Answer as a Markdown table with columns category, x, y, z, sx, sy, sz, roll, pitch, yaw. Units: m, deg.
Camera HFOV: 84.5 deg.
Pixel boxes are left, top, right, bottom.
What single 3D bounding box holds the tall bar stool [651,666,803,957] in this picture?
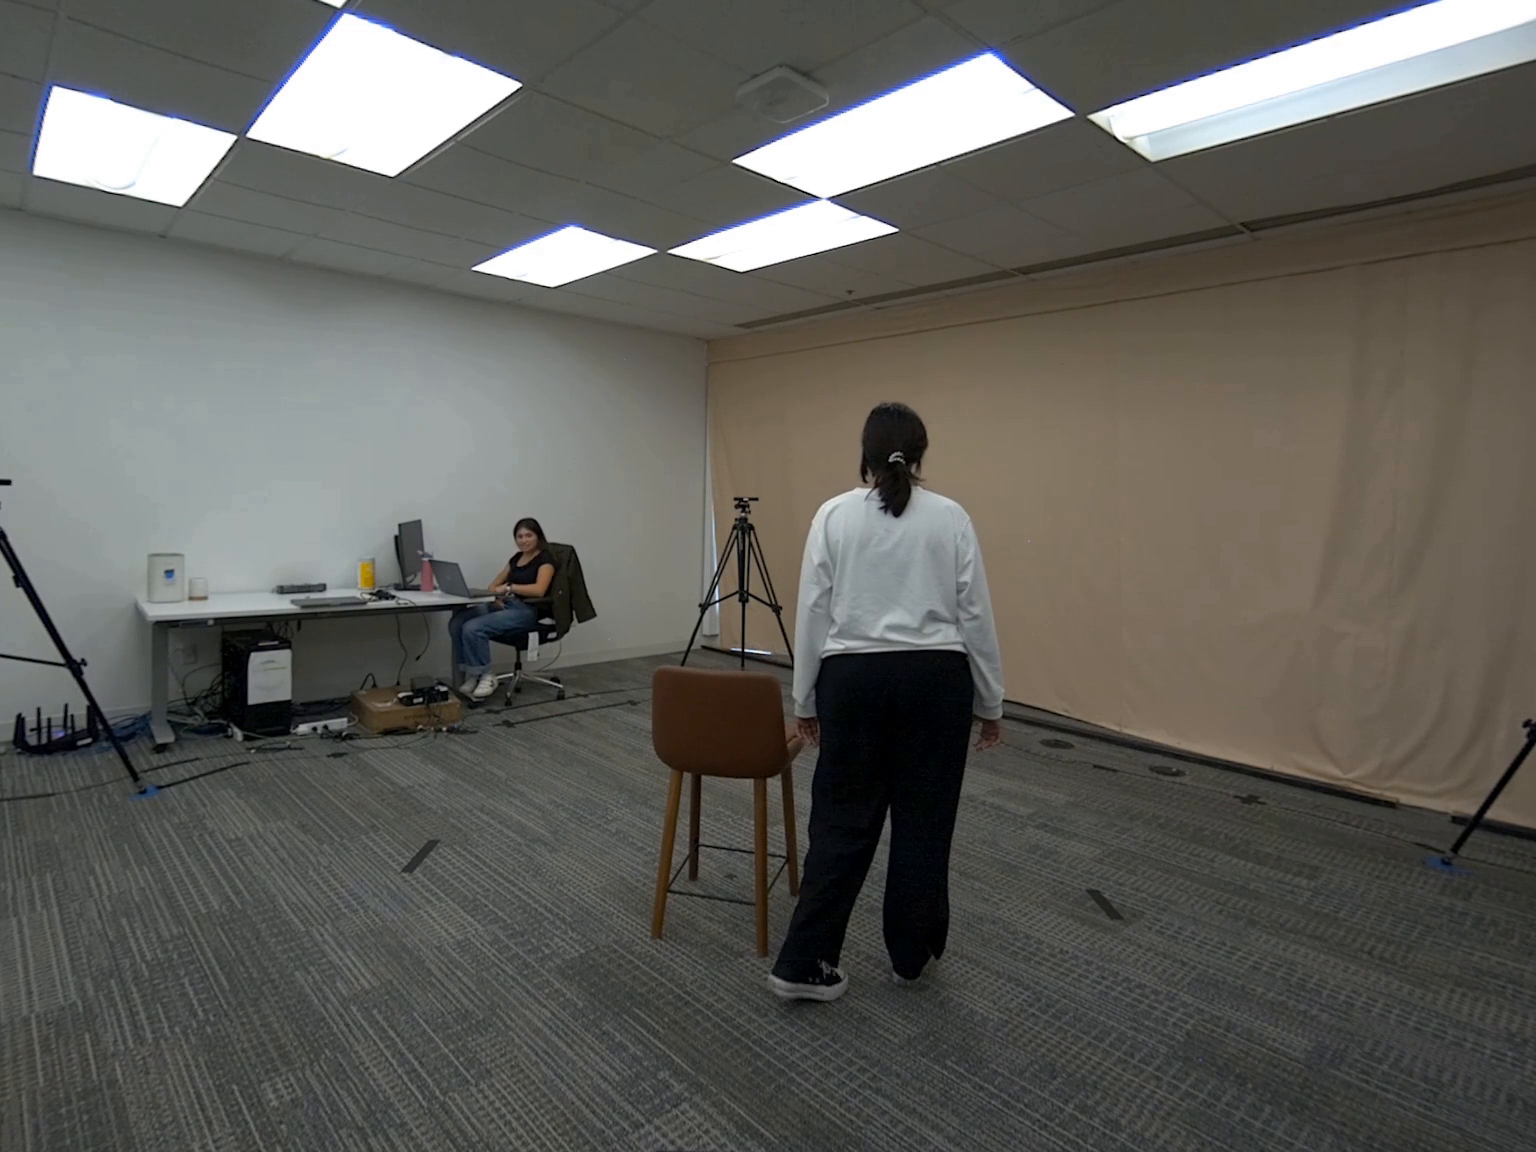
| category | x | y | z | sx | sy | sz | roll | pitch | yaw |
| --- | --- | --- | --- | --- | --- | --- | --- | --- | --- |
| tall bar stool | -0.133 | 0.705 | 2.787 | 0.462 | 0.886 | 0.463 | 2 | 5 | 15 |
